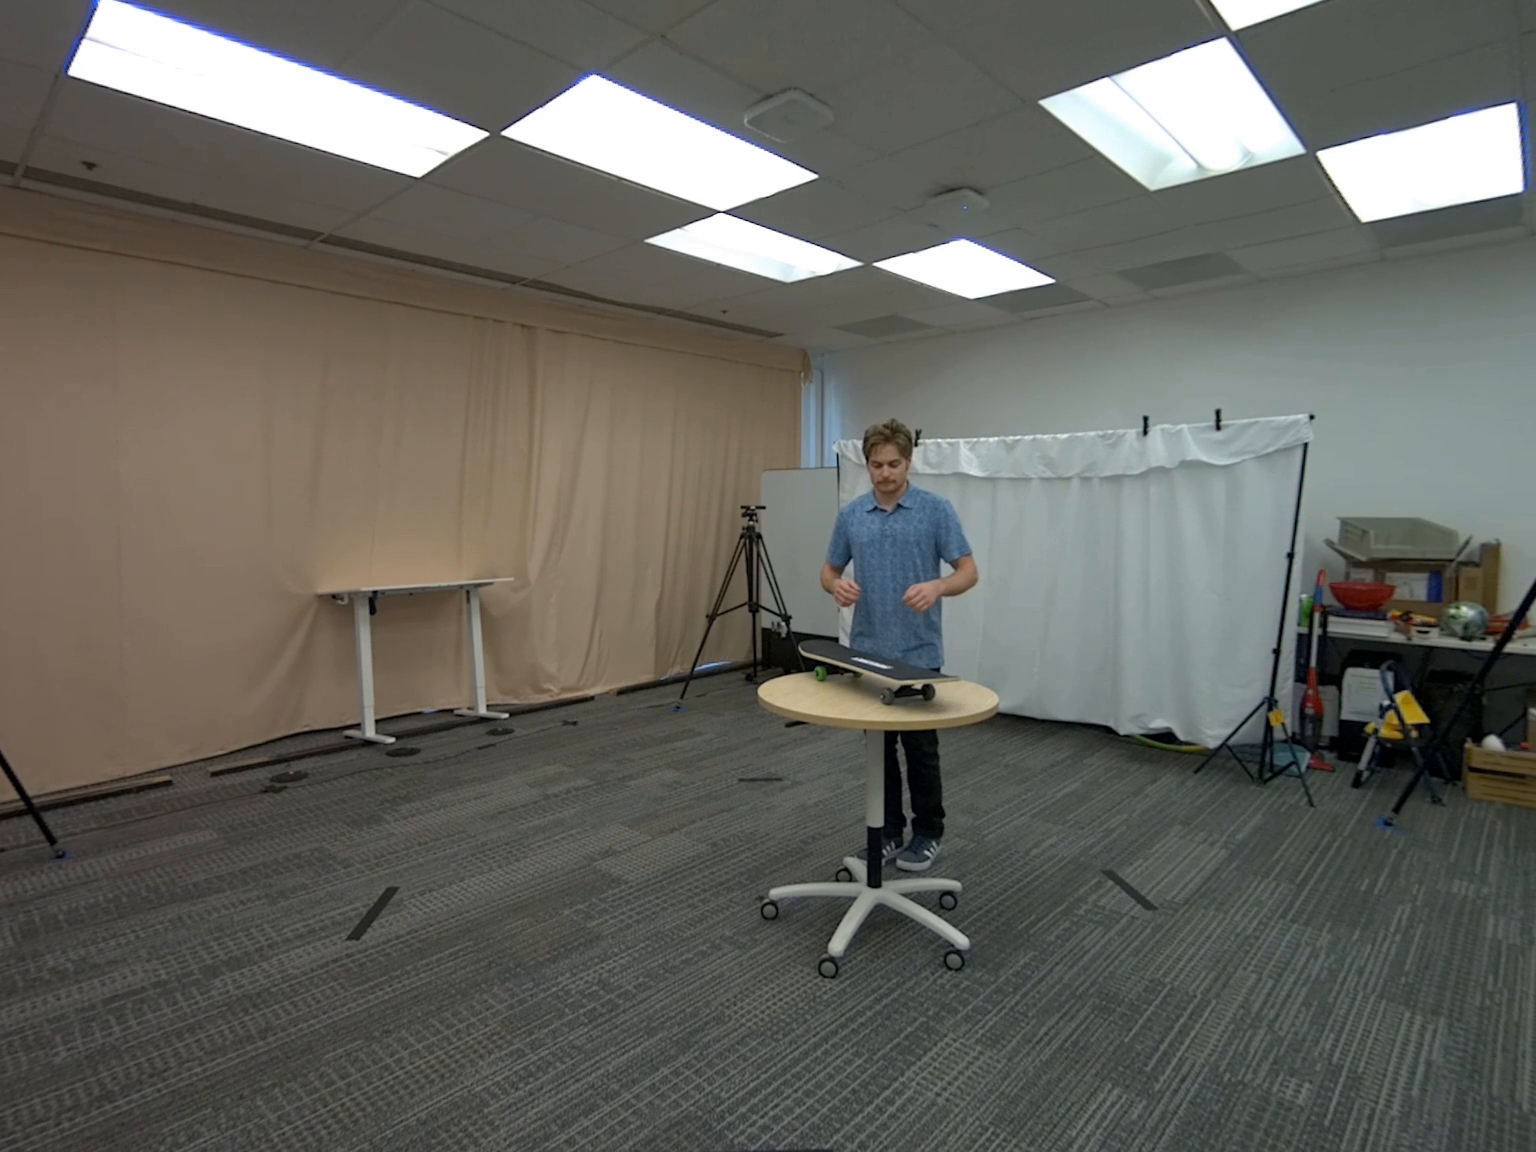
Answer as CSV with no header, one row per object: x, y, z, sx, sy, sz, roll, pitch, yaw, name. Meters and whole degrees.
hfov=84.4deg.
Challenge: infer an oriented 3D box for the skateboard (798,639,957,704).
0.346,0.325,2.775,0.189,0.110,0.805,-1,5,-25,skateboard
